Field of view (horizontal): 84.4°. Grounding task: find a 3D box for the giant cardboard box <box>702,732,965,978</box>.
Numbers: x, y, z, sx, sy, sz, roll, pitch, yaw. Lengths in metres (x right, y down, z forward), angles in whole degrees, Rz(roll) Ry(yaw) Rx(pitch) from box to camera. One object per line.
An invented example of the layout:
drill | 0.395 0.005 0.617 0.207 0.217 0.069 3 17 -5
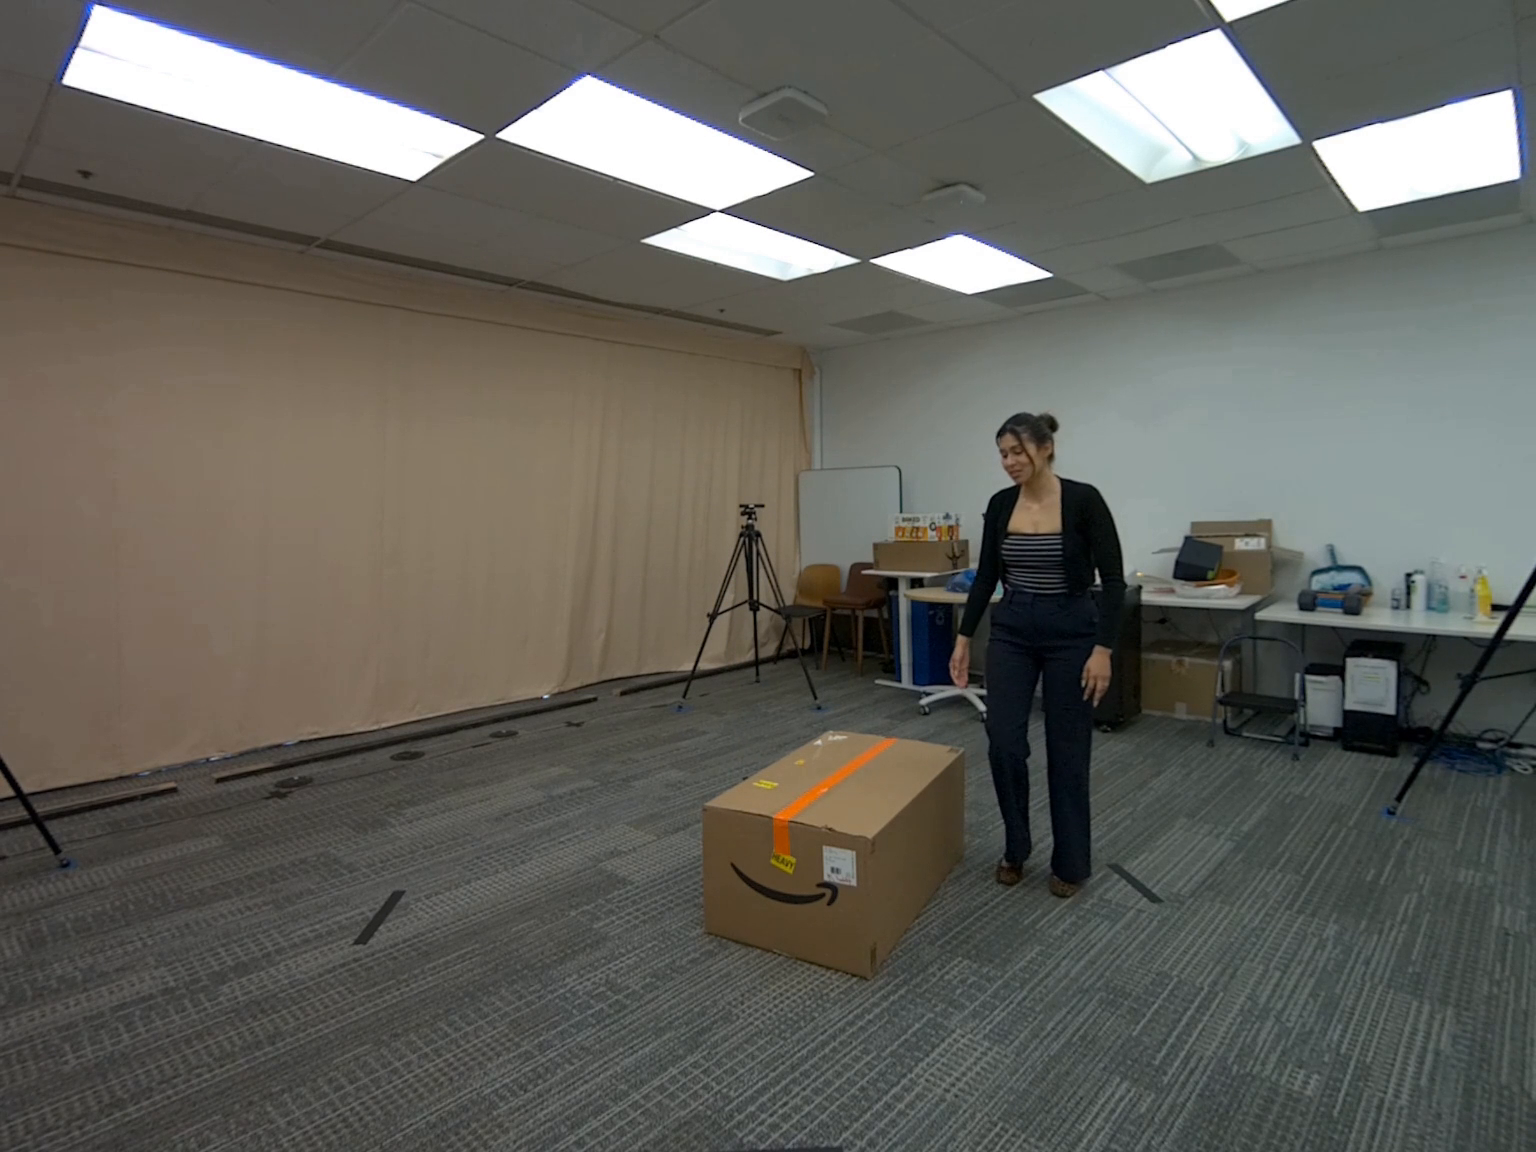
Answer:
giant cardboard box | 0.281 0.919 3.020 0.594 0.425 1.000 2 5 29
